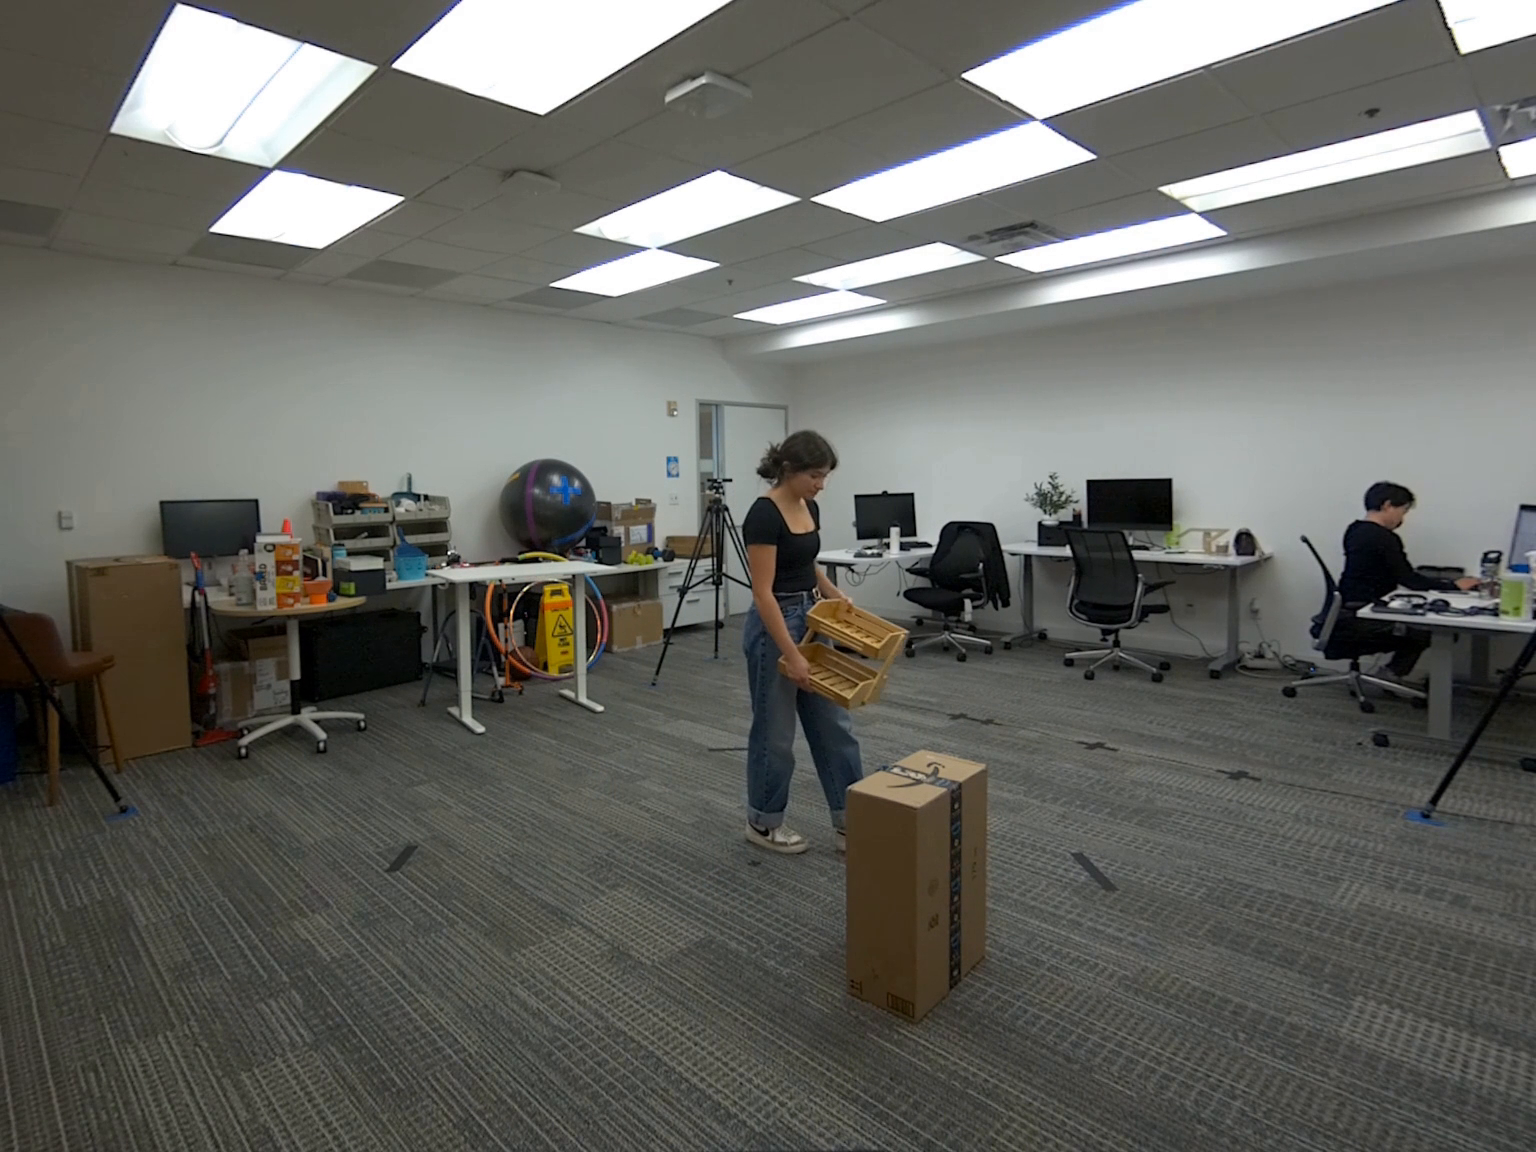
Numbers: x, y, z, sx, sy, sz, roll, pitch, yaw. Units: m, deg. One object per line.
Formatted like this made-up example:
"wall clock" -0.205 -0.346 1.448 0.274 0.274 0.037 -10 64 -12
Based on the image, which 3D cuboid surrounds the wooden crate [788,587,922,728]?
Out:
"wooden crate" 0.281 0.268 2.948 0.333 0.270 0.297 29 26 21
